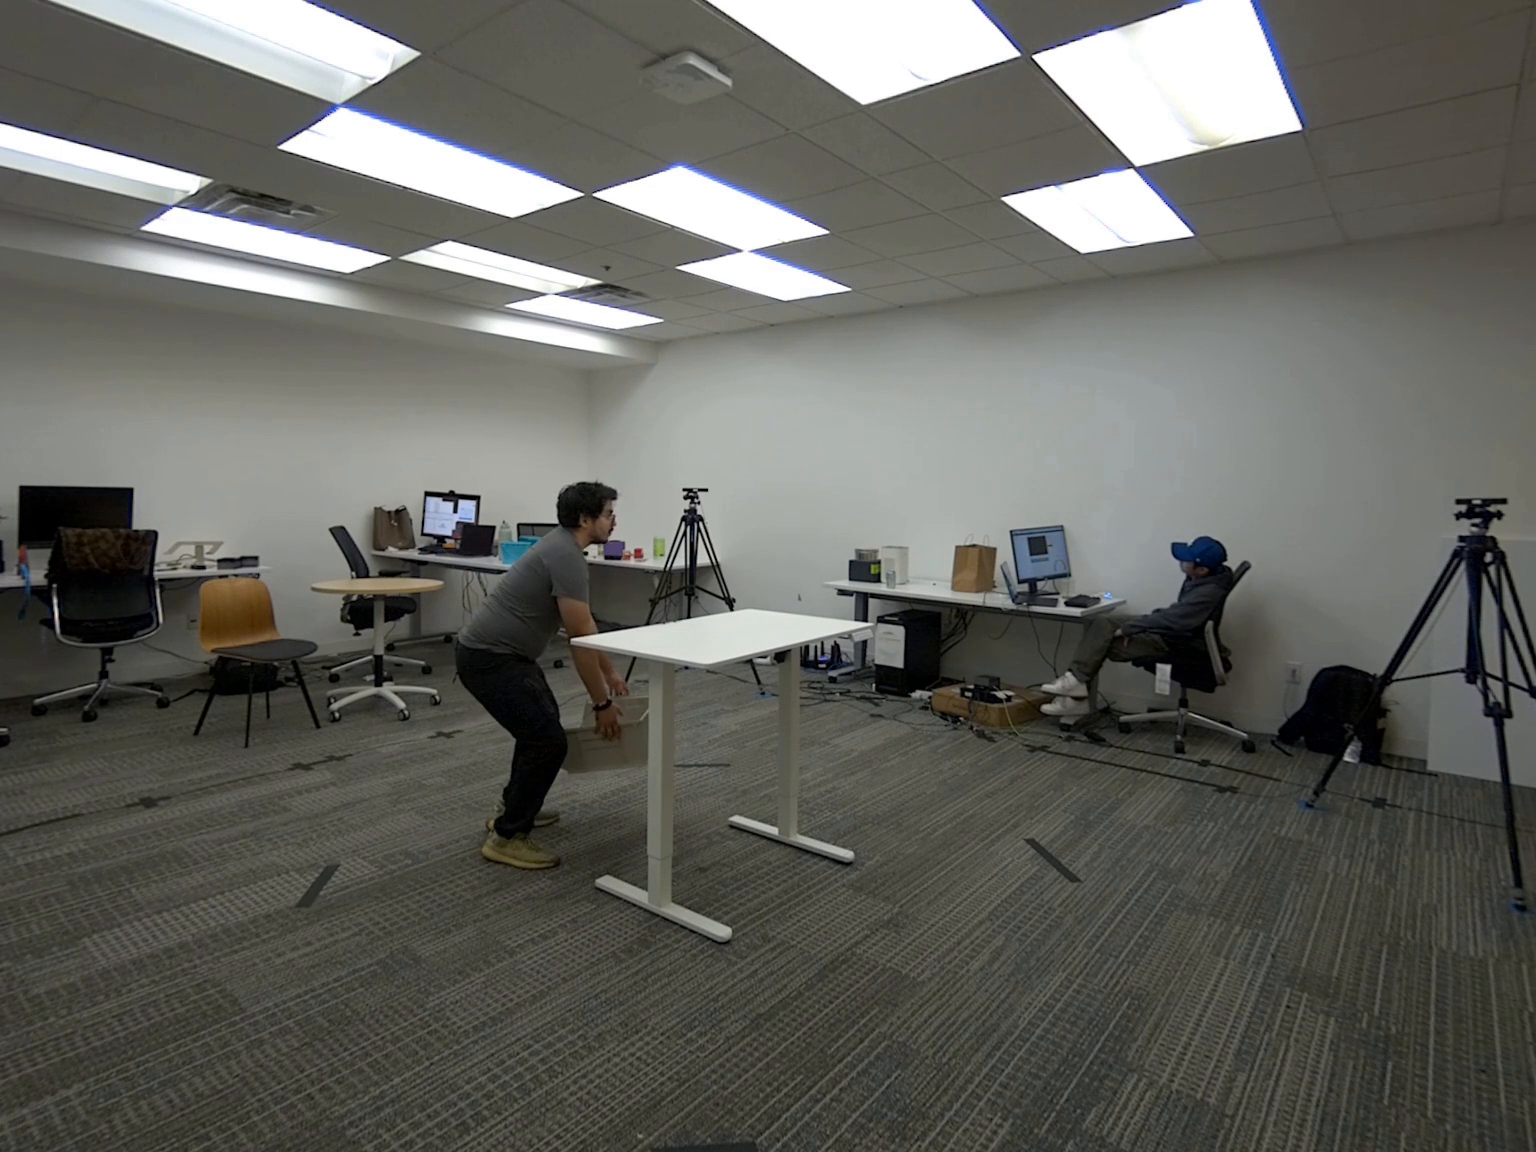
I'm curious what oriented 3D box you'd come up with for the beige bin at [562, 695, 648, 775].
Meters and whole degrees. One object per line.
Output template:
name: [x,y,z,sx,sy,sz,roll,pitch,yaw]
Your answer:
beige bin: [-0.674,0.636,3.473,0.379,0.188,0.423,-2,6,3]
